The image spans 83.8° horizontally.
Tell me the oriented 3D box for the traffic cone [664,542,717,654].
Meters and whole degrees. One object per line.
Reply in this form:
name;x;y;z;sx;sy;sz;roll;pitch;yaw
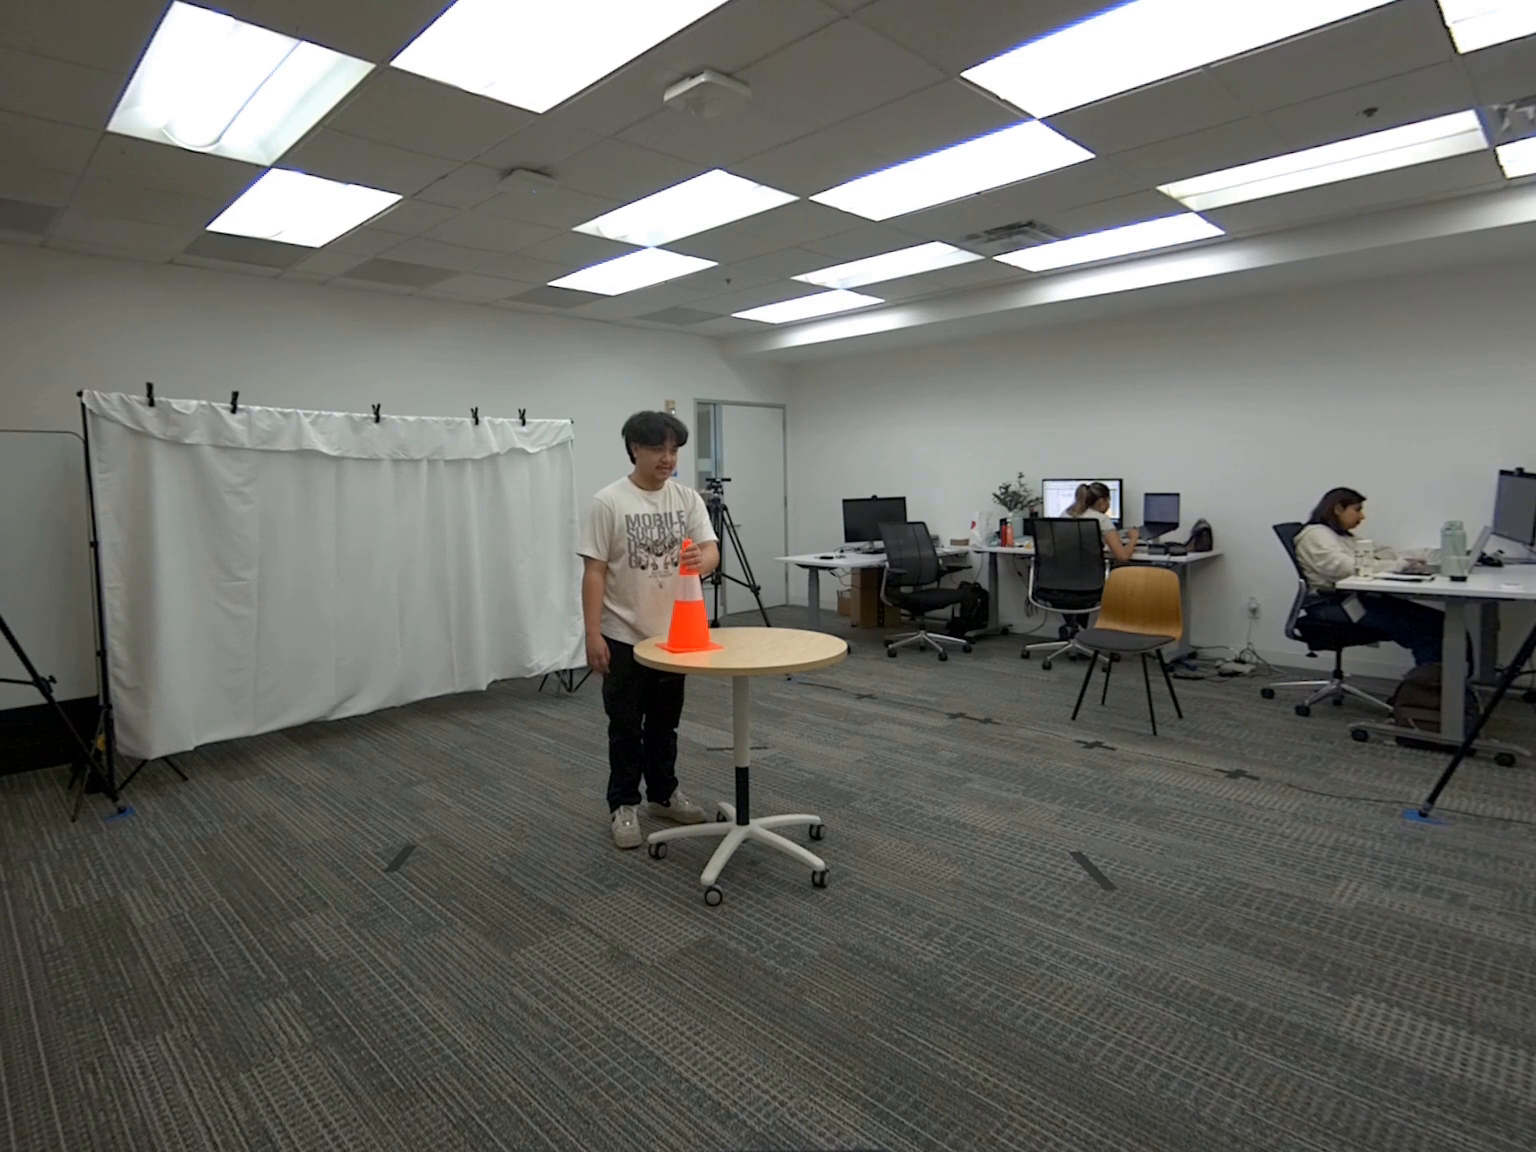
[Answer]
traffic cone;-0.285;0.058;3.064;0.199;0.383;0.209;-4;3;-42
